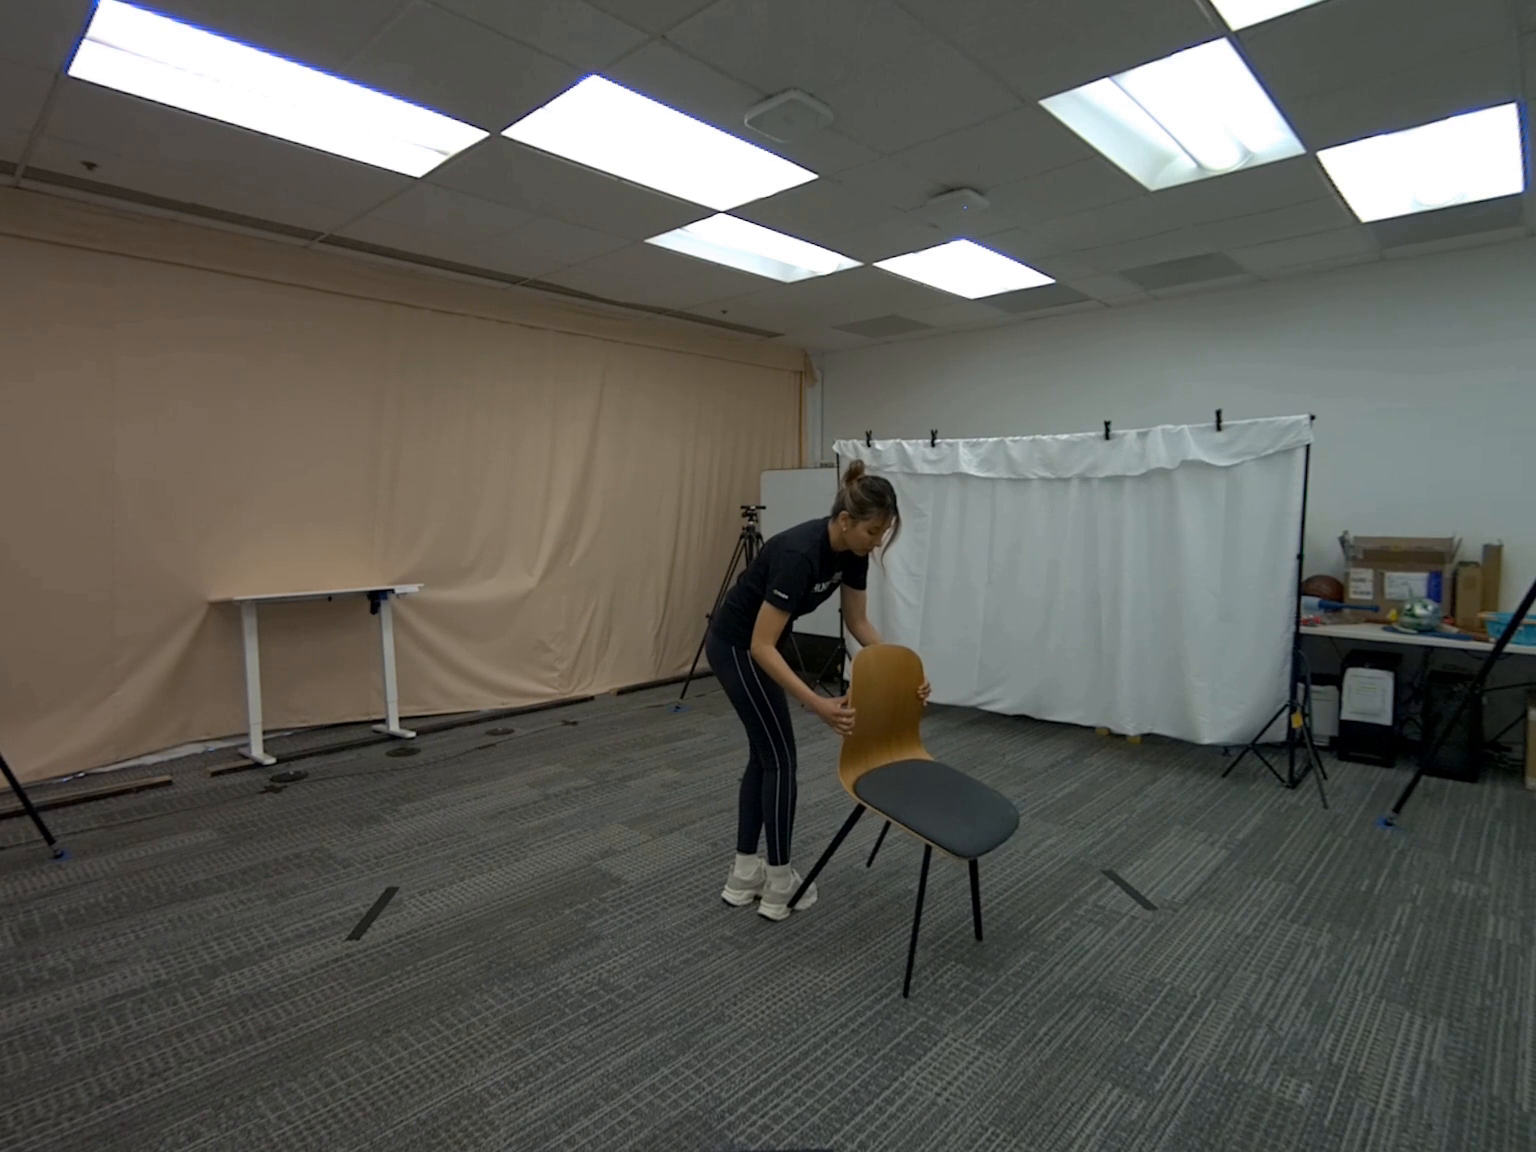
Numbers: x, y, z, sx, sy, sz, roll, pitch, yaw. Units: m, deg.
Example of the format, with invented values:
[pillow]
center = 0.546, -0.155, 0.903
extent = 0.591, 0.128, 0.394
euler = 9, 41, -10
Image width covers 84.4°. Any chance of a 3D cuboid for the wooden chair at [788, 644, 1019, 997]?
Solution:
[wooden chair]
center = 0.469, 0.709, 2.578
extent = 0.542, 0.873, 0.463
euler = 17, 14, 41
